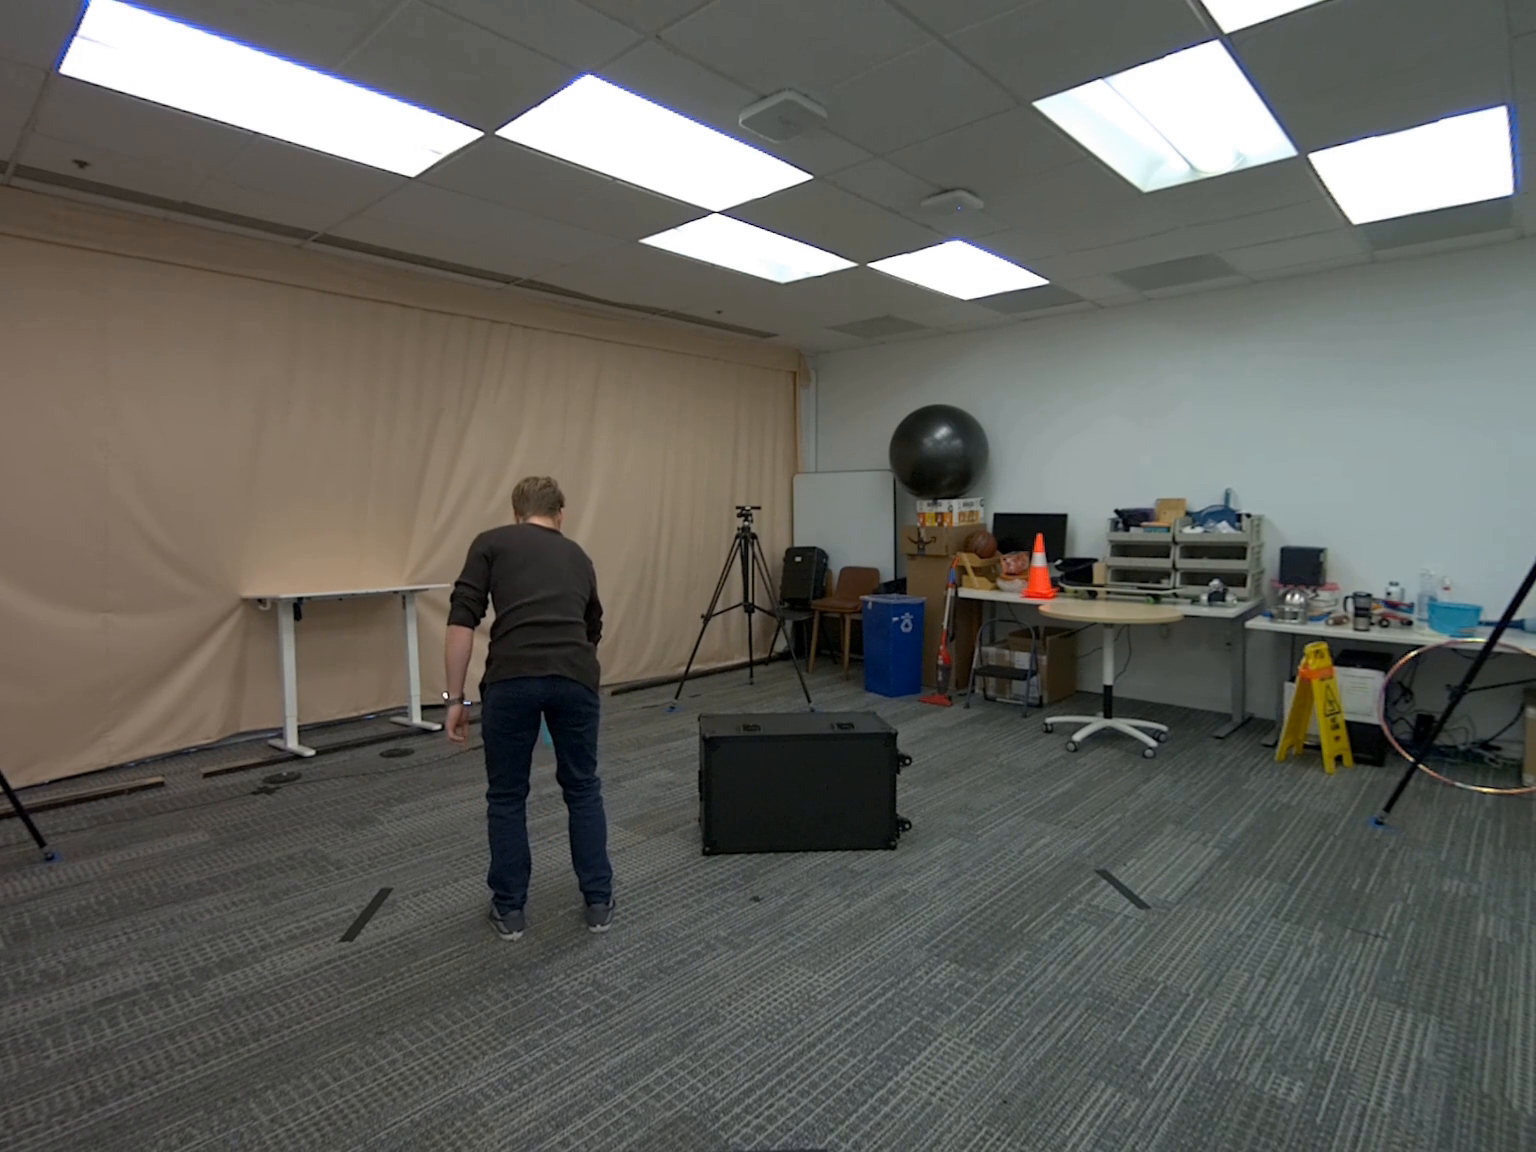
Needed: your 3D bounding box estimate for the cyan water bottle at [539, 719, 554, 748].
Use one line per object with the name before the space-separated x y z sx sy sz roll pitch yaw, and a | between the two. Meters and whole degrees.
cyan water bottle | -0.854 0.516 3.261 0.092 0.286 0.092 -10 -12 -4
